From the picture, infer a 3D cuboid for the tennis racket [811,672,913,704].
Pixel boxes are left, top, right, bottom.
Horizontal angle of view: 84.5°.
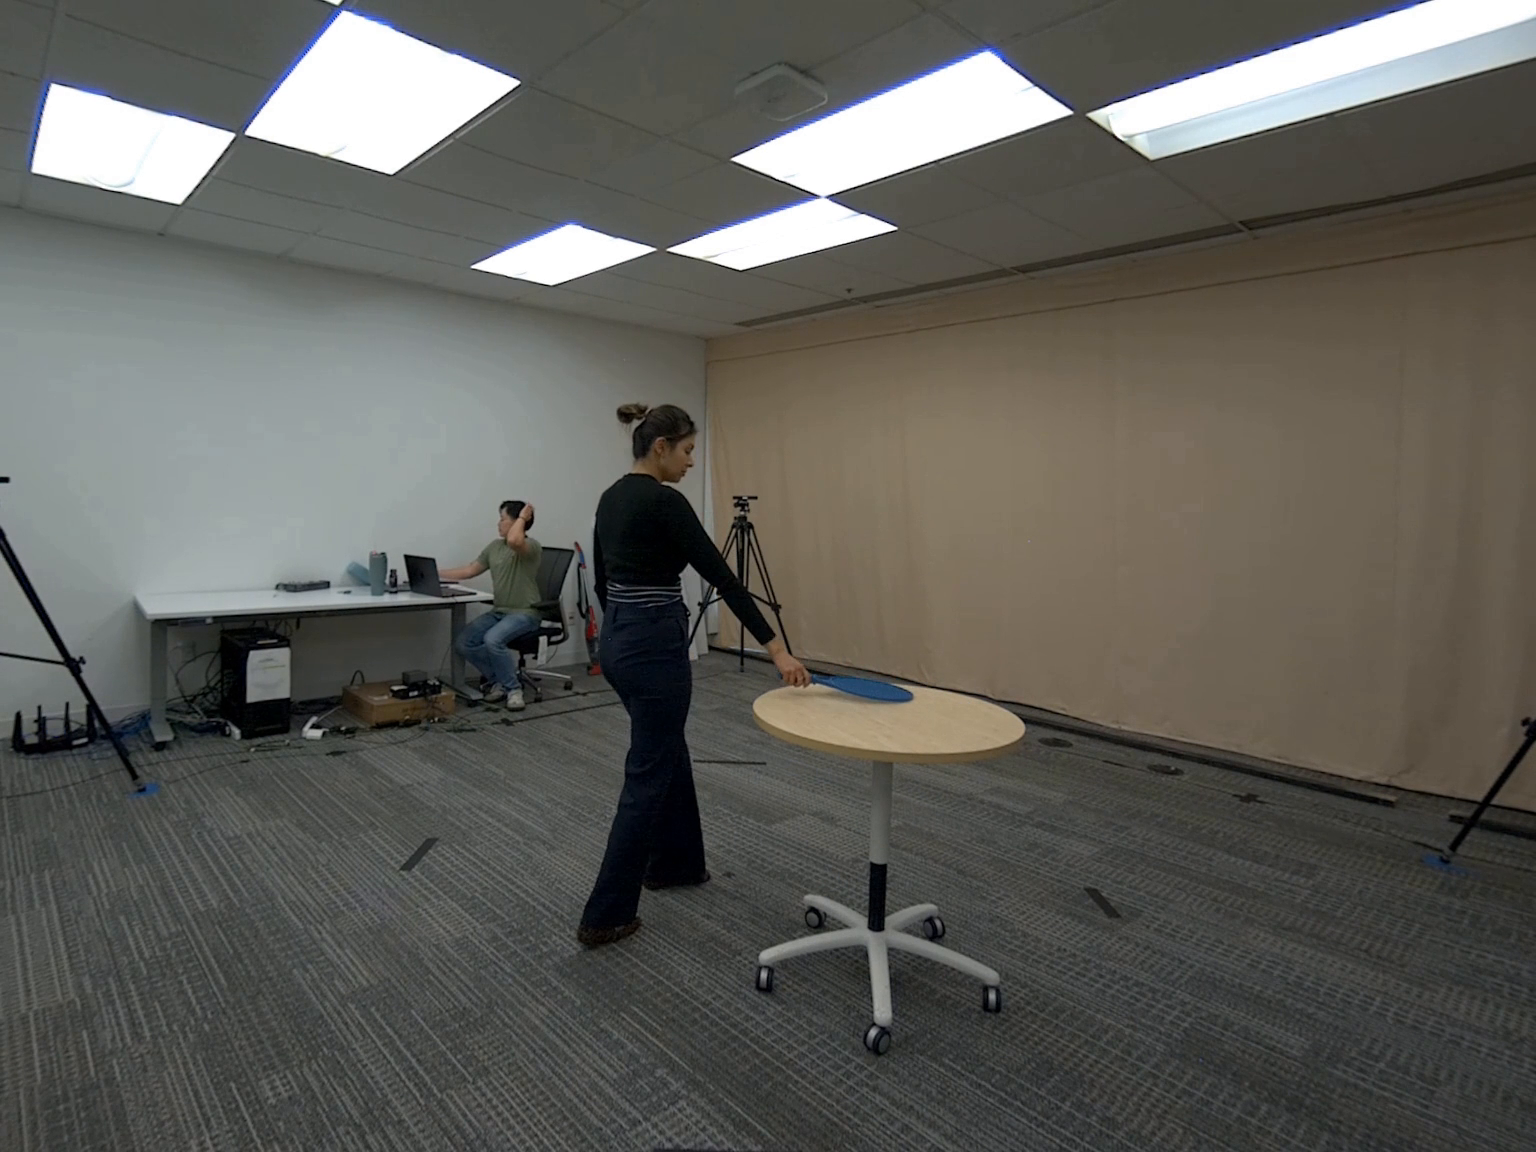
[{"bbox_3d":[0.239,0.345,2.601,0.429,0.031,0.216,7,7,-10],"label":"tennis racket"}]
